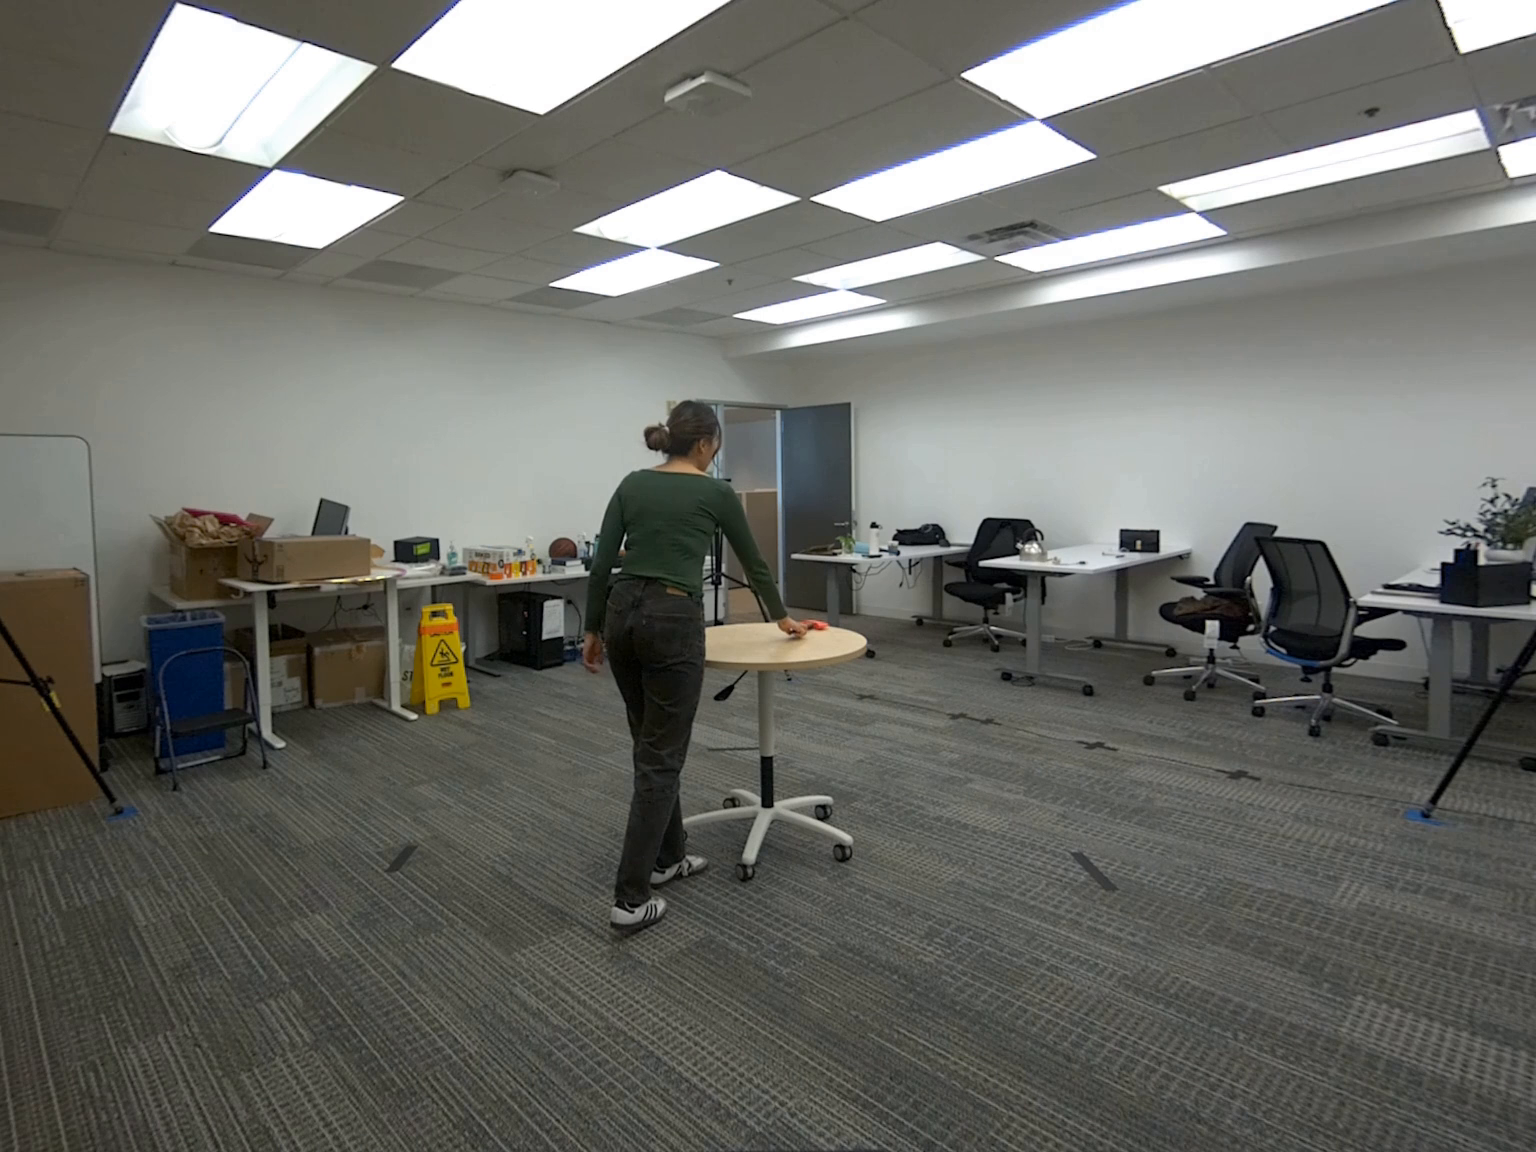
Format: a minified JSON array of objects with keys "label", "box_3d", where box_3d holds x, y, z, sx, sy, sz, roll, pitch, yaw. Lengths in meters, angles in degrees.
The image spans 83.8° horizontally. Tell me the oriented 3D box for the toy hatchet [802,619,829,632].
[{"label":"toy hatchet","box_3d":[0.179,0.208,3.377,0.132,0.029,0.269,1,6,6]}]
